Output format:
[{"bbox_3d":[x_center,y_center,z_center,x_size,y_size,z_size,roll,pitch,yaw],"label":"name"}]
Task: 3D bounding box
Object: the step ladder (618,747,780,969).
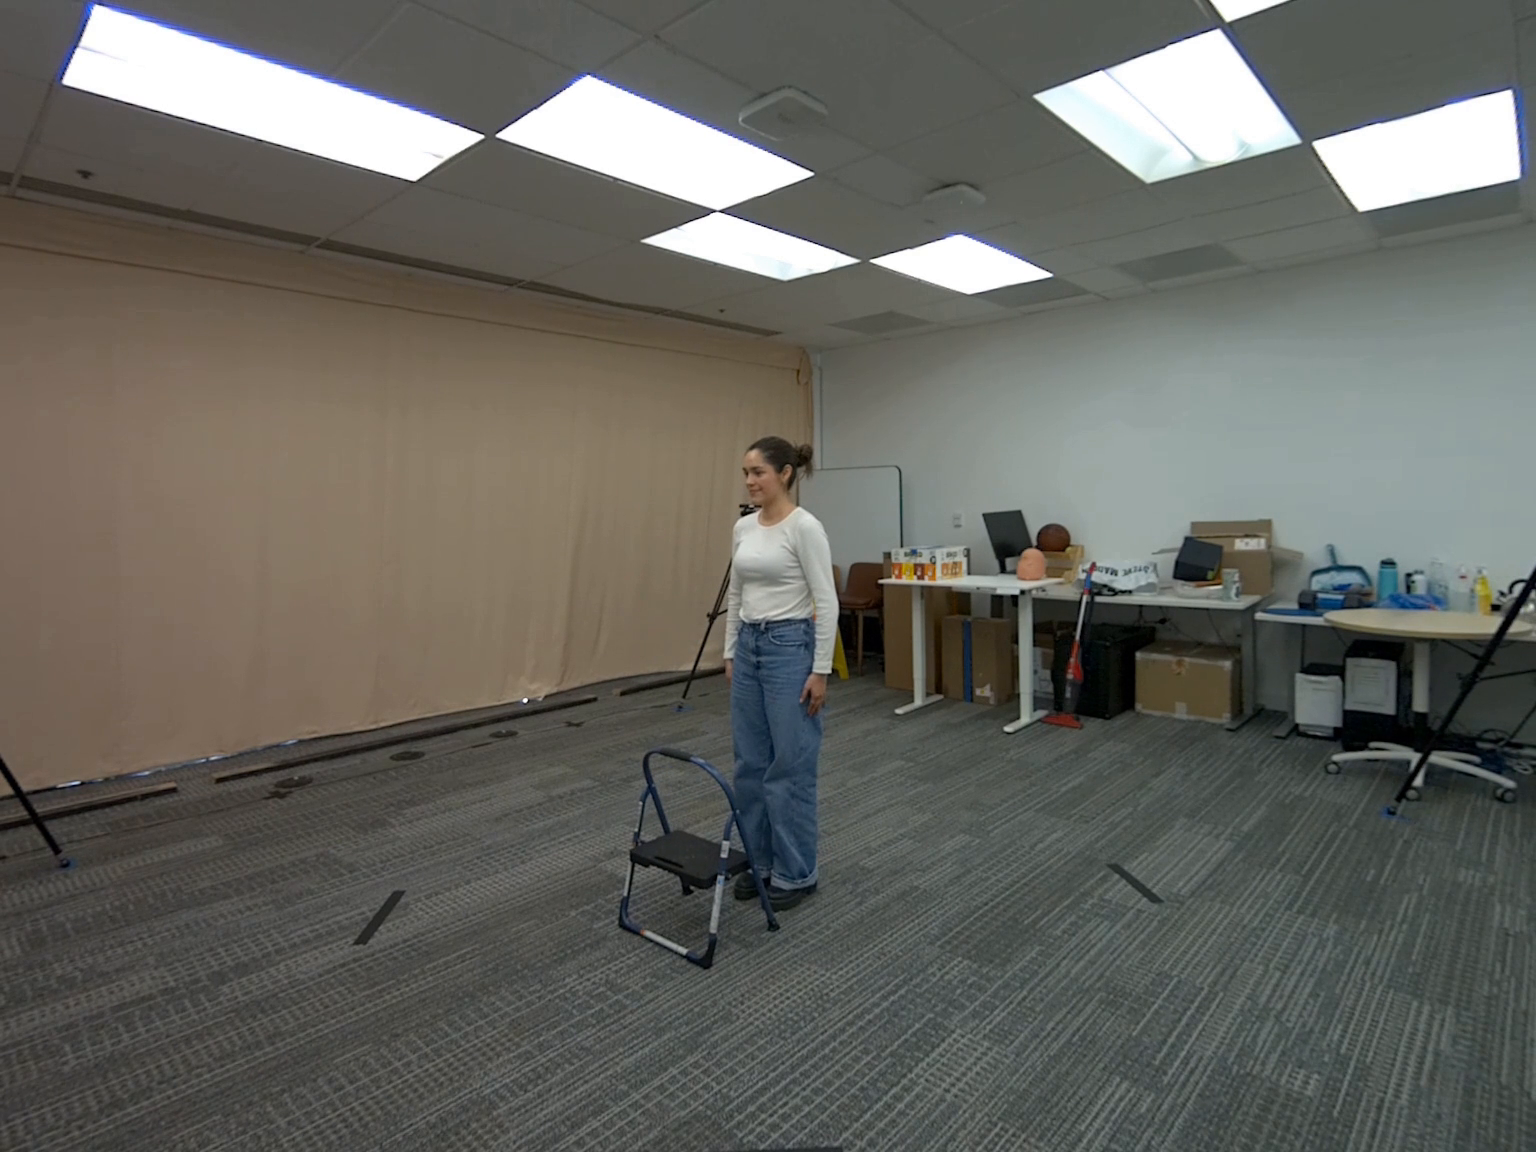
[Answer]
[{"bbox_3d":[-0.236,0.856,2.769,0.445,0.605,0.339,2,4,40],"label":"step ladder"}]
